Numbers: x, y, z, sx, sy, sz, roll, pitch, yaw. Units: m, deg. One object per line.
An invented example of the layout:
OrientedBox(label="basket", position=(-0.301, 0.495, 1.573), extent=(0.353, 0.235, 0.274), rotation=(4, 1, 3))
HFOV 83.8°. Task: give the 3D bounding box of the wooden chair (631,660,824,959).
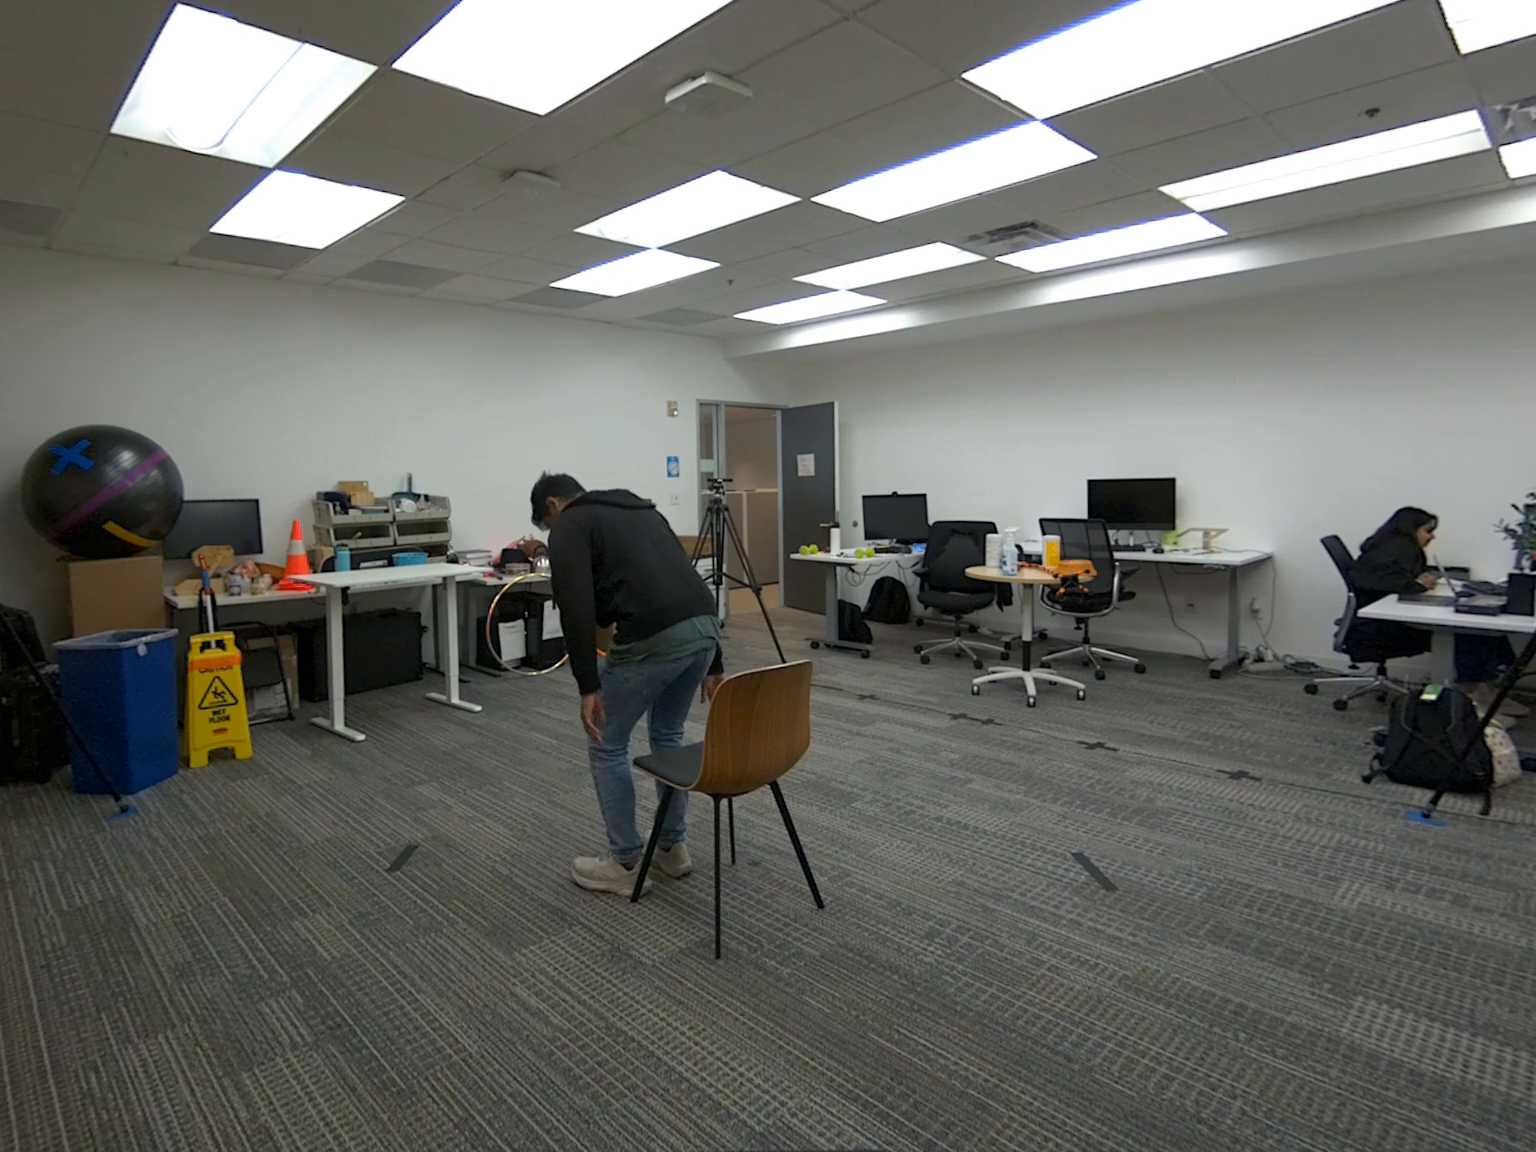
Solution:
OrientedBox(label="wooden chair", position=(-0.144, 0.655, 2.774), extent=(0.466, 0.871, 0.541), rotation=(-5, 10, -40))
